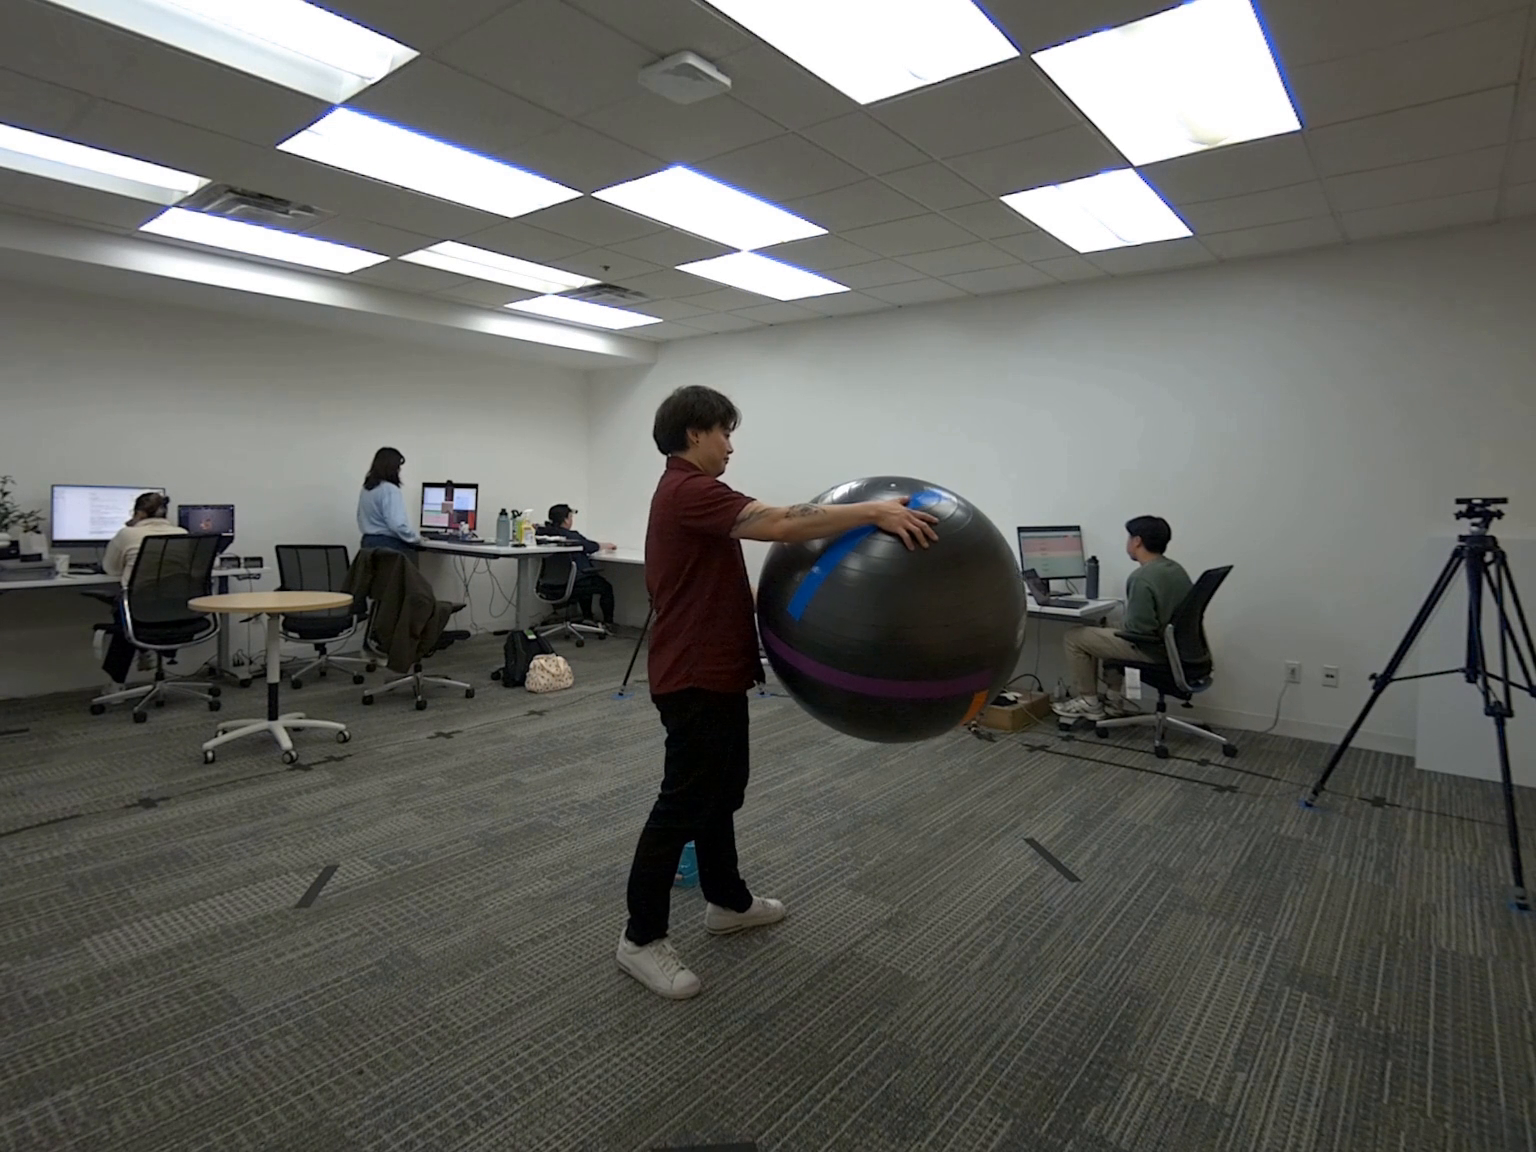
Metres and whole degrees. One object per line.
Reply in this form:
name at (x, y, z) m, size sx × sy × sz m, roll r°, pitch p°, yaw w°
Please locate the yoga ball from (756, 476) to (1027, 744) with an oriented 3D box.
yoga ball at (0.347, 0.096, 2.427) m, size 0.757 × 0.756 × 0.761 m, roll 1°, pitch 4°, yaw -2°
